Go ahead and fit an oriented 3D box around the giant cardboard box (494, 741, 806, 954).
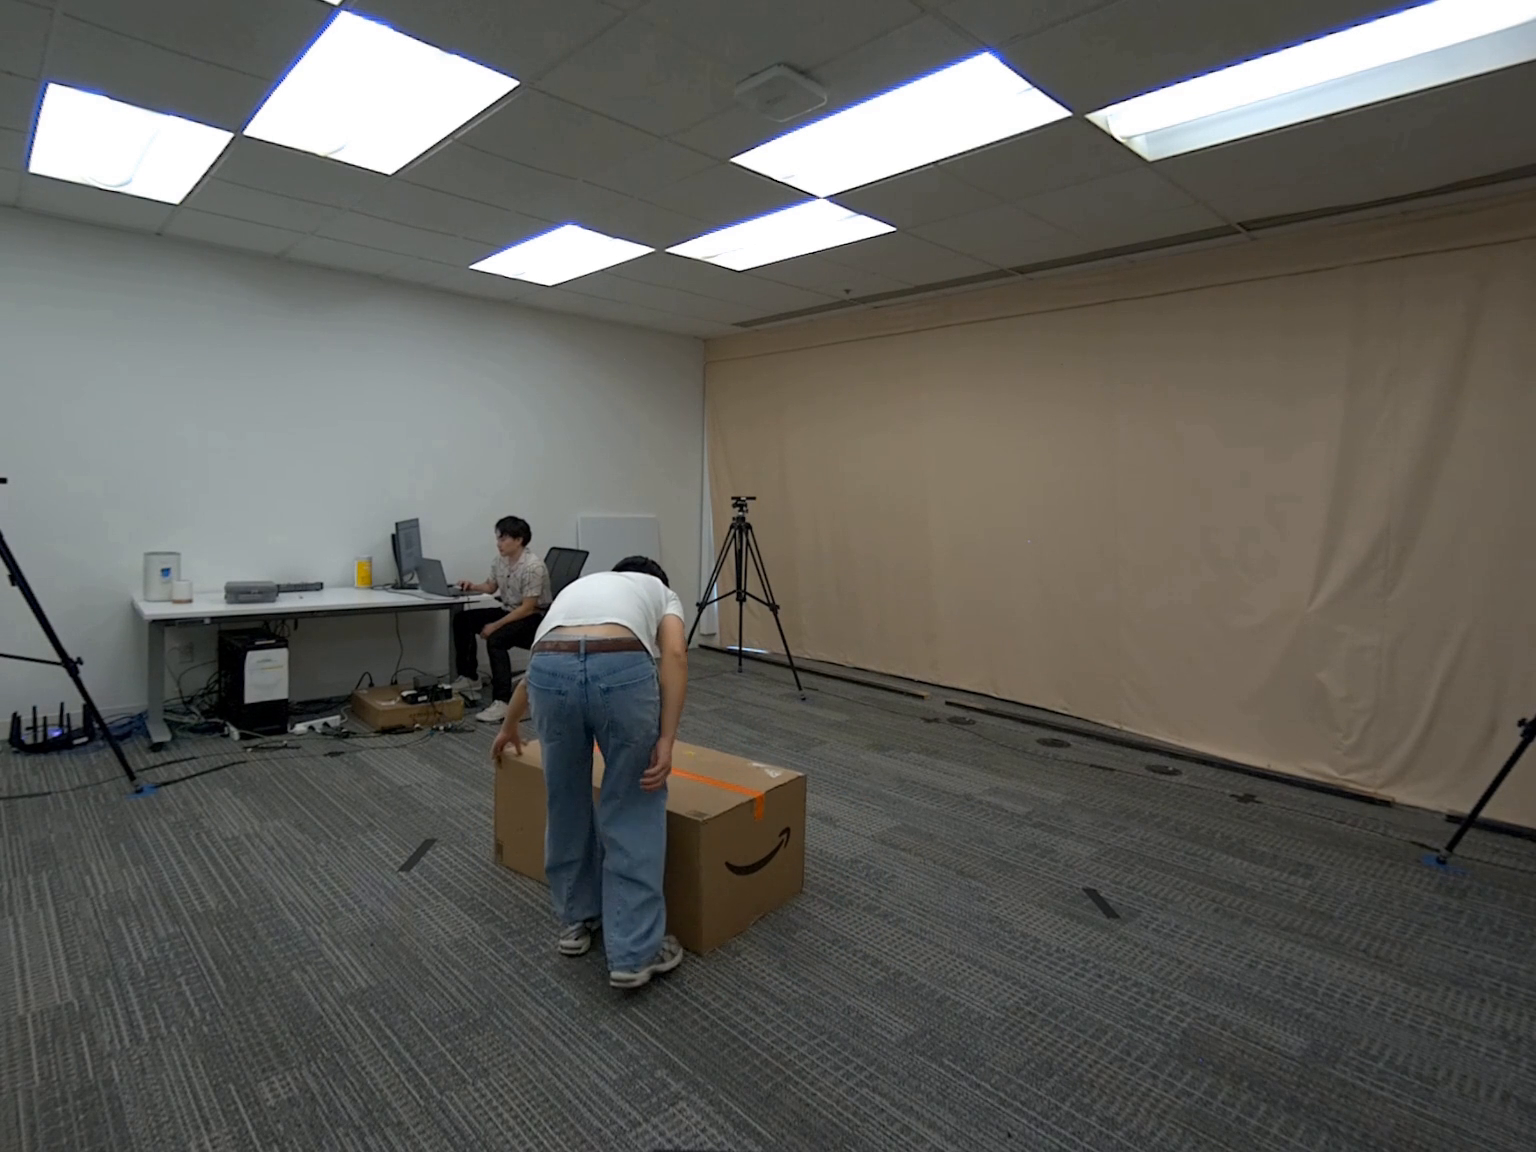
[{"bbox_3d":[-0.447,0.888,3.067,1.051,0.425,0.565,5,5,36],"label":"giant cardboard box"}]
